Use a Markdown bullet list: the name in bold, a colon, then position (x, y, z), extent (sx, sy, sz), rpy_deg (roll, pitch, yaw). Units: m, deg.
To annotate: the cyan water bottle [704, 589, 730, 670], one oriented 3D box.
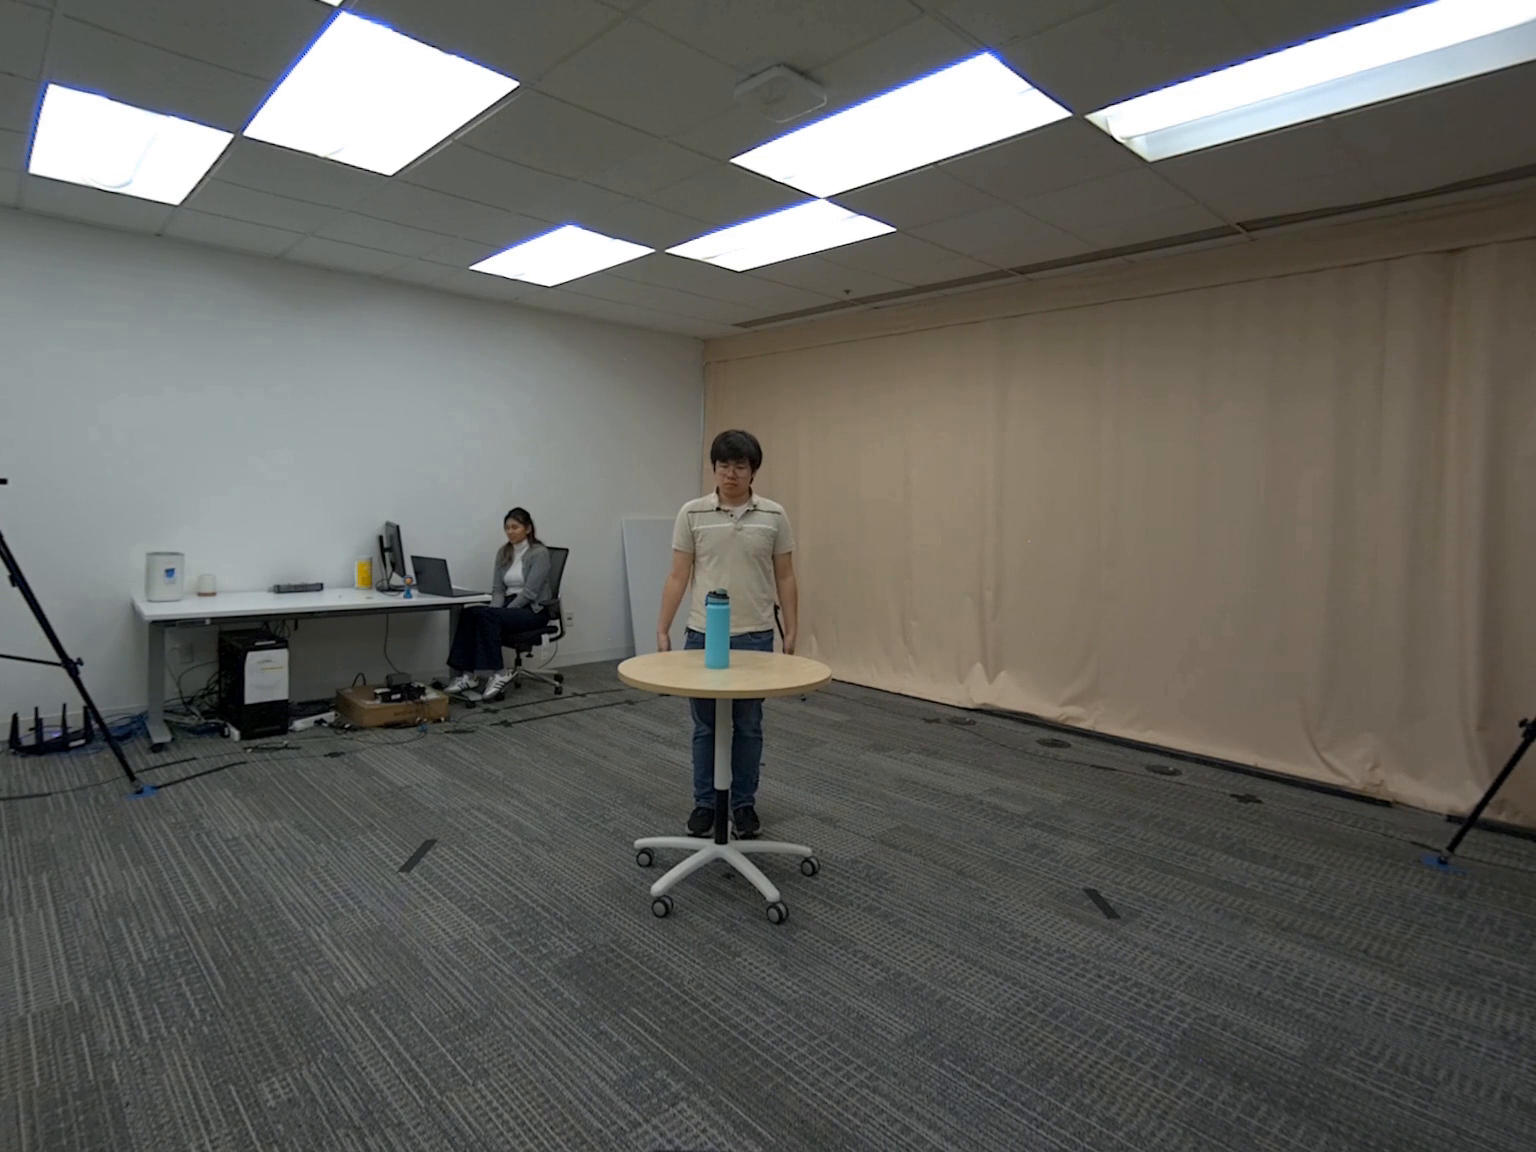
- **cyan water bottle**: position (-0.196, 0.190, 3.037), extent (0.092, 0.283, 0.092), rpy_deg (1, 1, -1)
